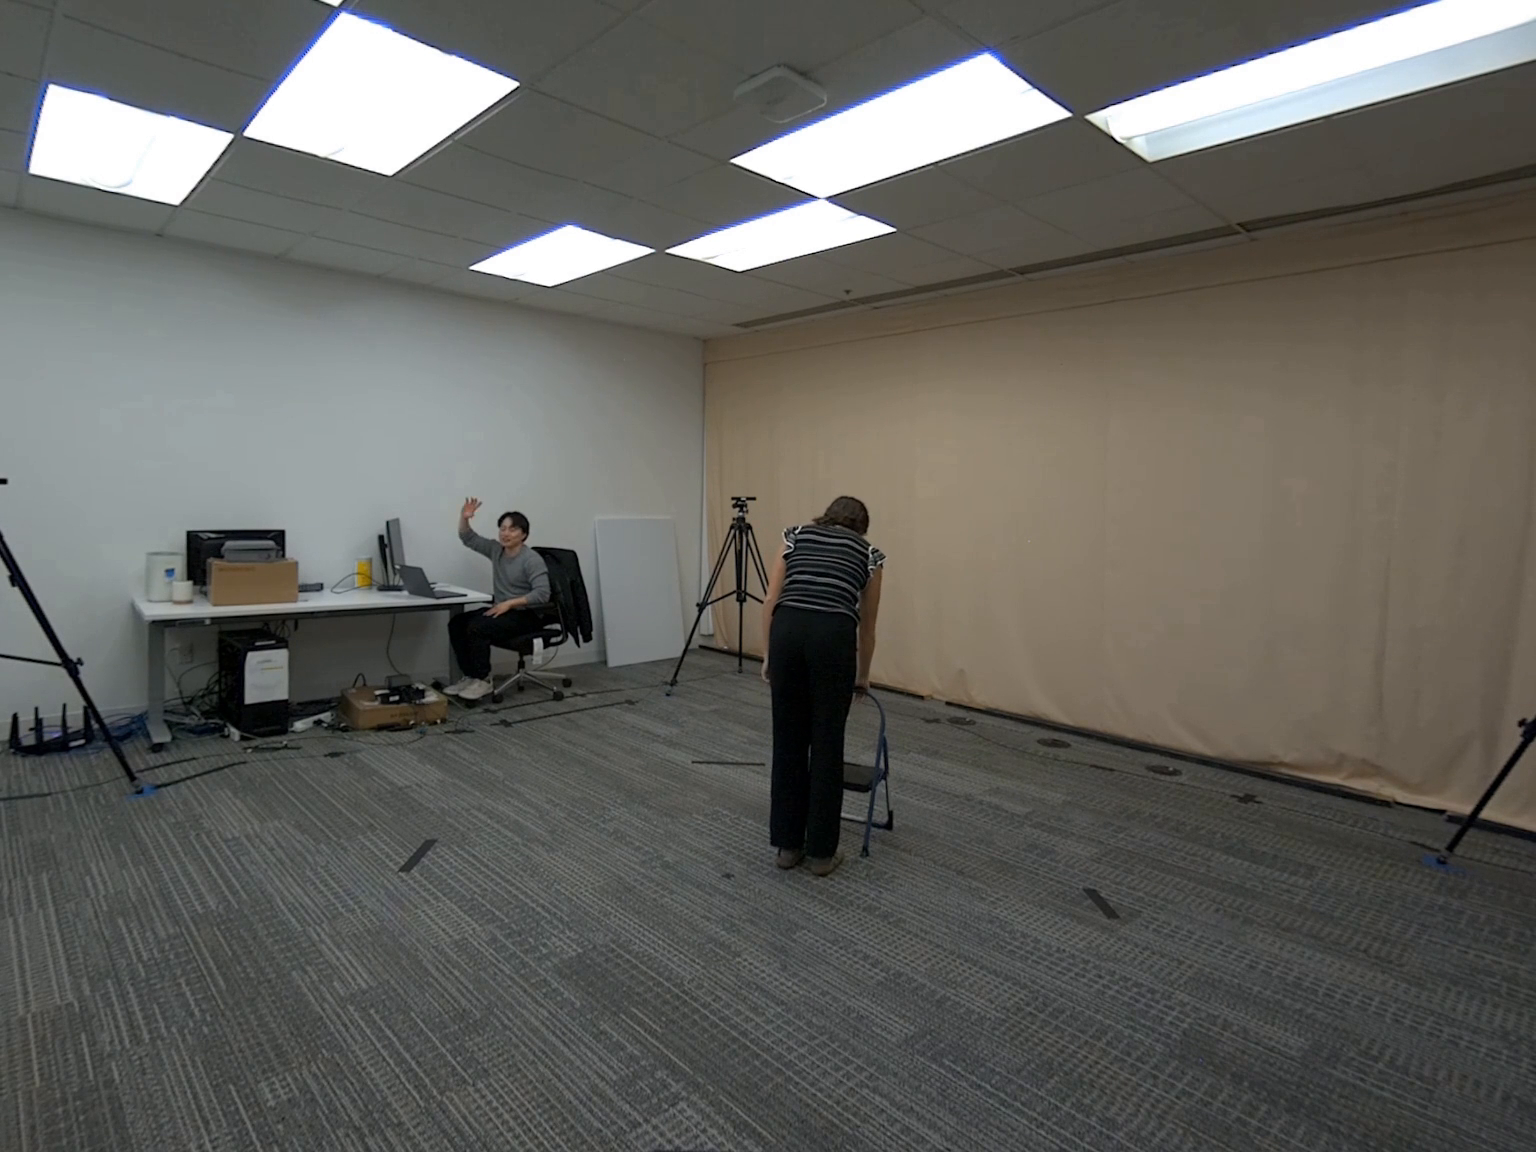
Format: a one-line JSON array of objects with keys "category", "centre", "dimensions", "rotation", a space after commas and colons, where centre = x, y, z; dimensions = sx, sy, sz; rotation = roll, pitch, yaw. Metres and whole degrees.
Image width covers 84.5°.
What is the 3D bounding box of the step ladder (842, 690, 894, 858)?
[{"category": "step ladder", "centre": [0.280, 0.779, 3.538], "dimensions": [0.440, 0.605, 0.342], "rotation": [3, 3, 29]}]
